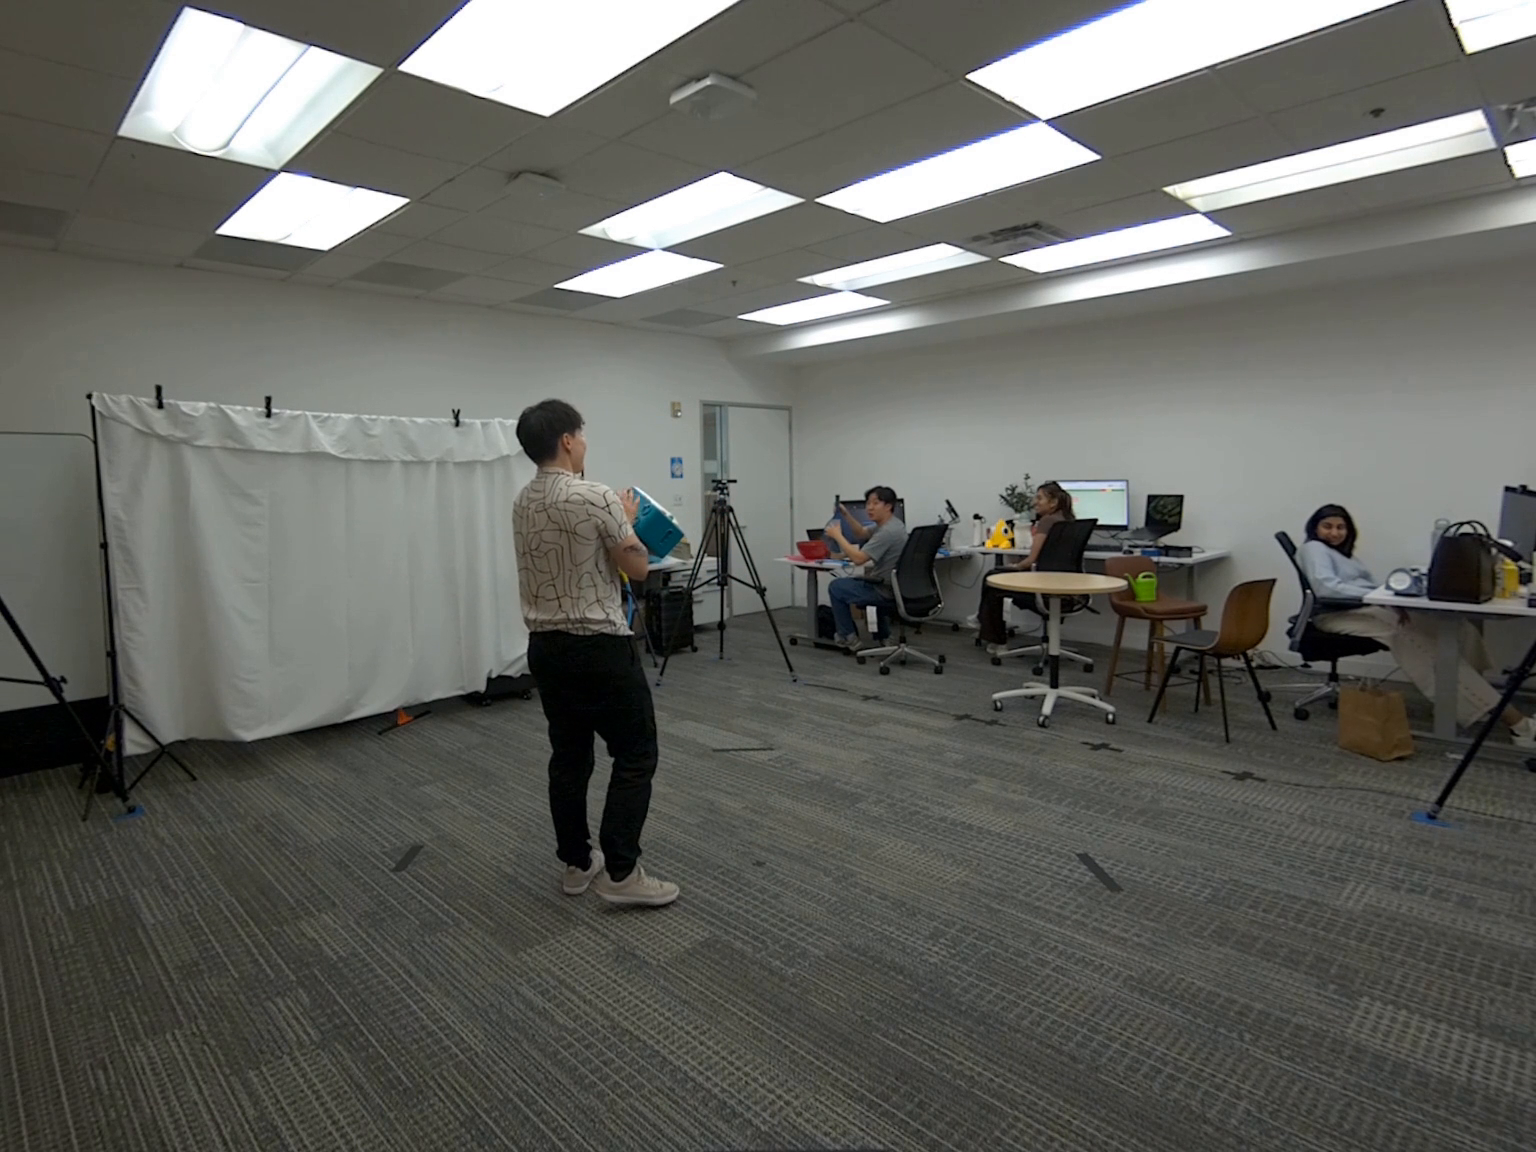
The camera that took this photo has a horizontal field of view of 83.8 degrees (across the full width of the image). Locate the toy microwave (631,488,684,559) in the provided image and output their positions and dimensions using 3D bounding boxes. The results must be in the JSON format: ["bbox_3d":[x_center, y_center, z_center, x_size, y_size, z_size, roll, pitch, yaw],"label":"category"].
[{"bbox_3d":[-0.453,-0.214,3.244,0.177,0.152,0.297,45,-3,-36],"label":"toy microwave"}]
